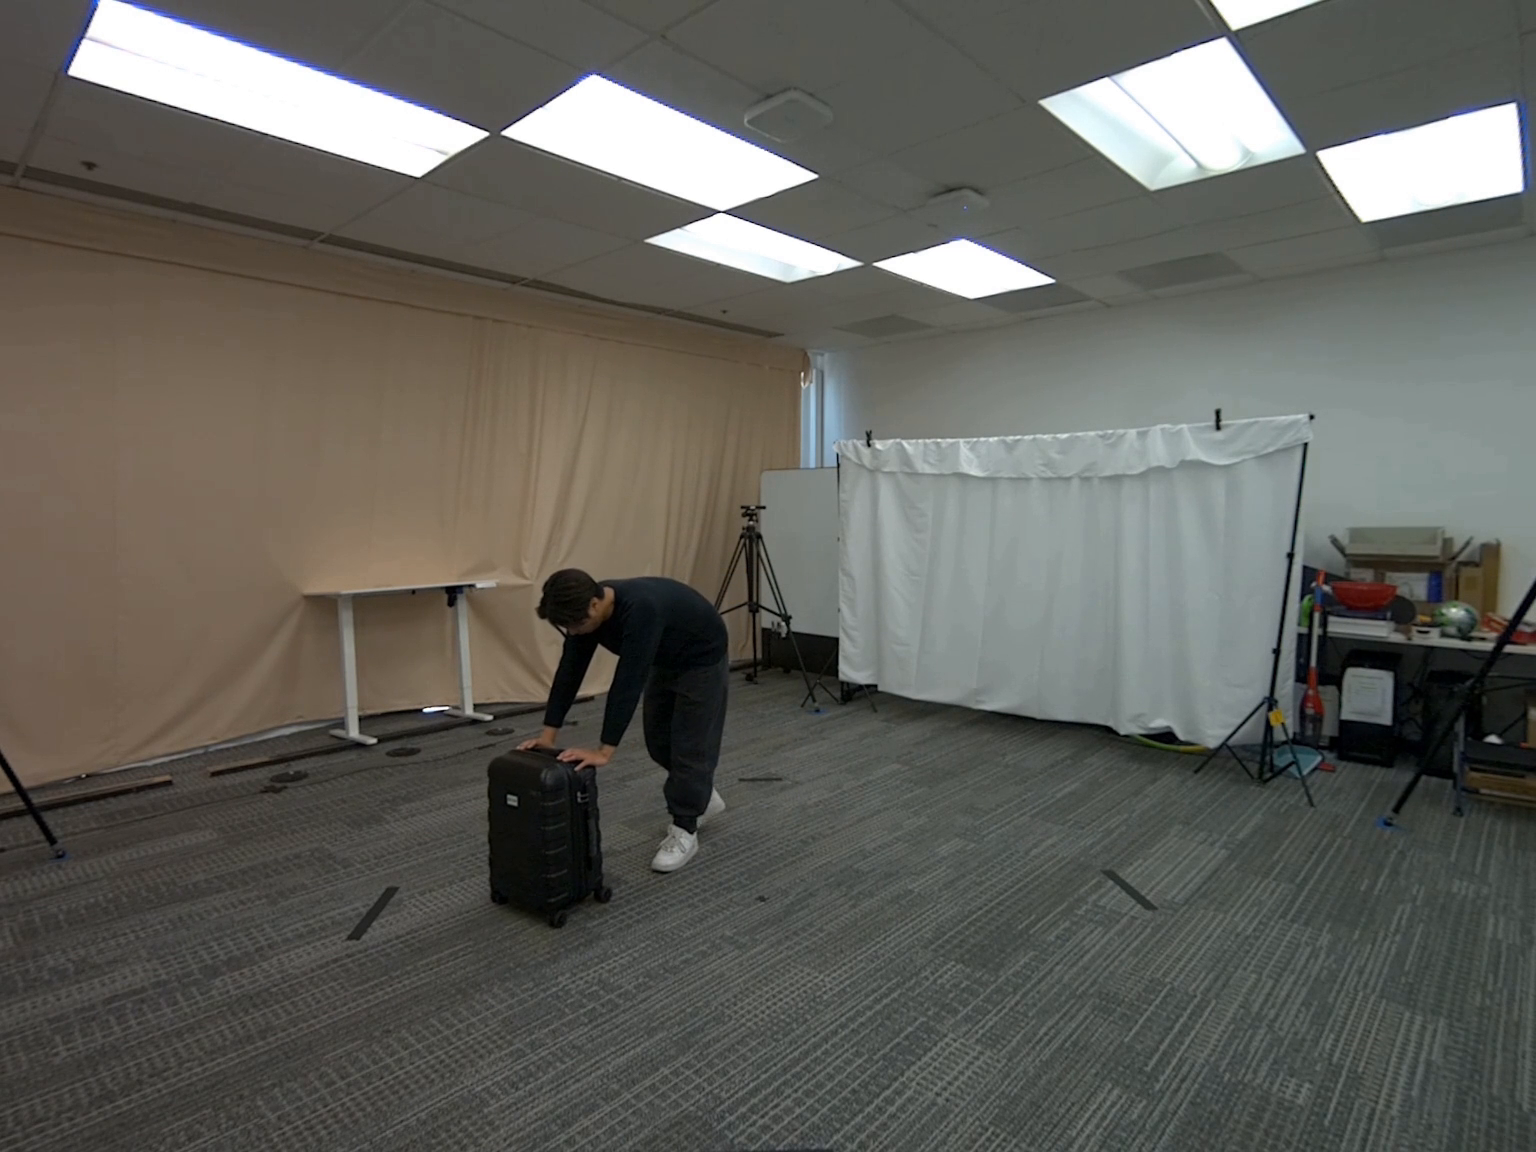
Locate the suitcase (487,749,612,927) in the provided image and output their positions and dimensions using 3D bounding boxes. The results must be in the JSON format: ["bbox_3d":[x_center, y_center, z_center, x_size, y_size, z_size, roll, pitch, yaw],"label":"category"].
[{"bbox_3d":[-0.779,0.878,2.937,0.387,0.548,0.241,2,6,35],"label":"suitcase"}]
